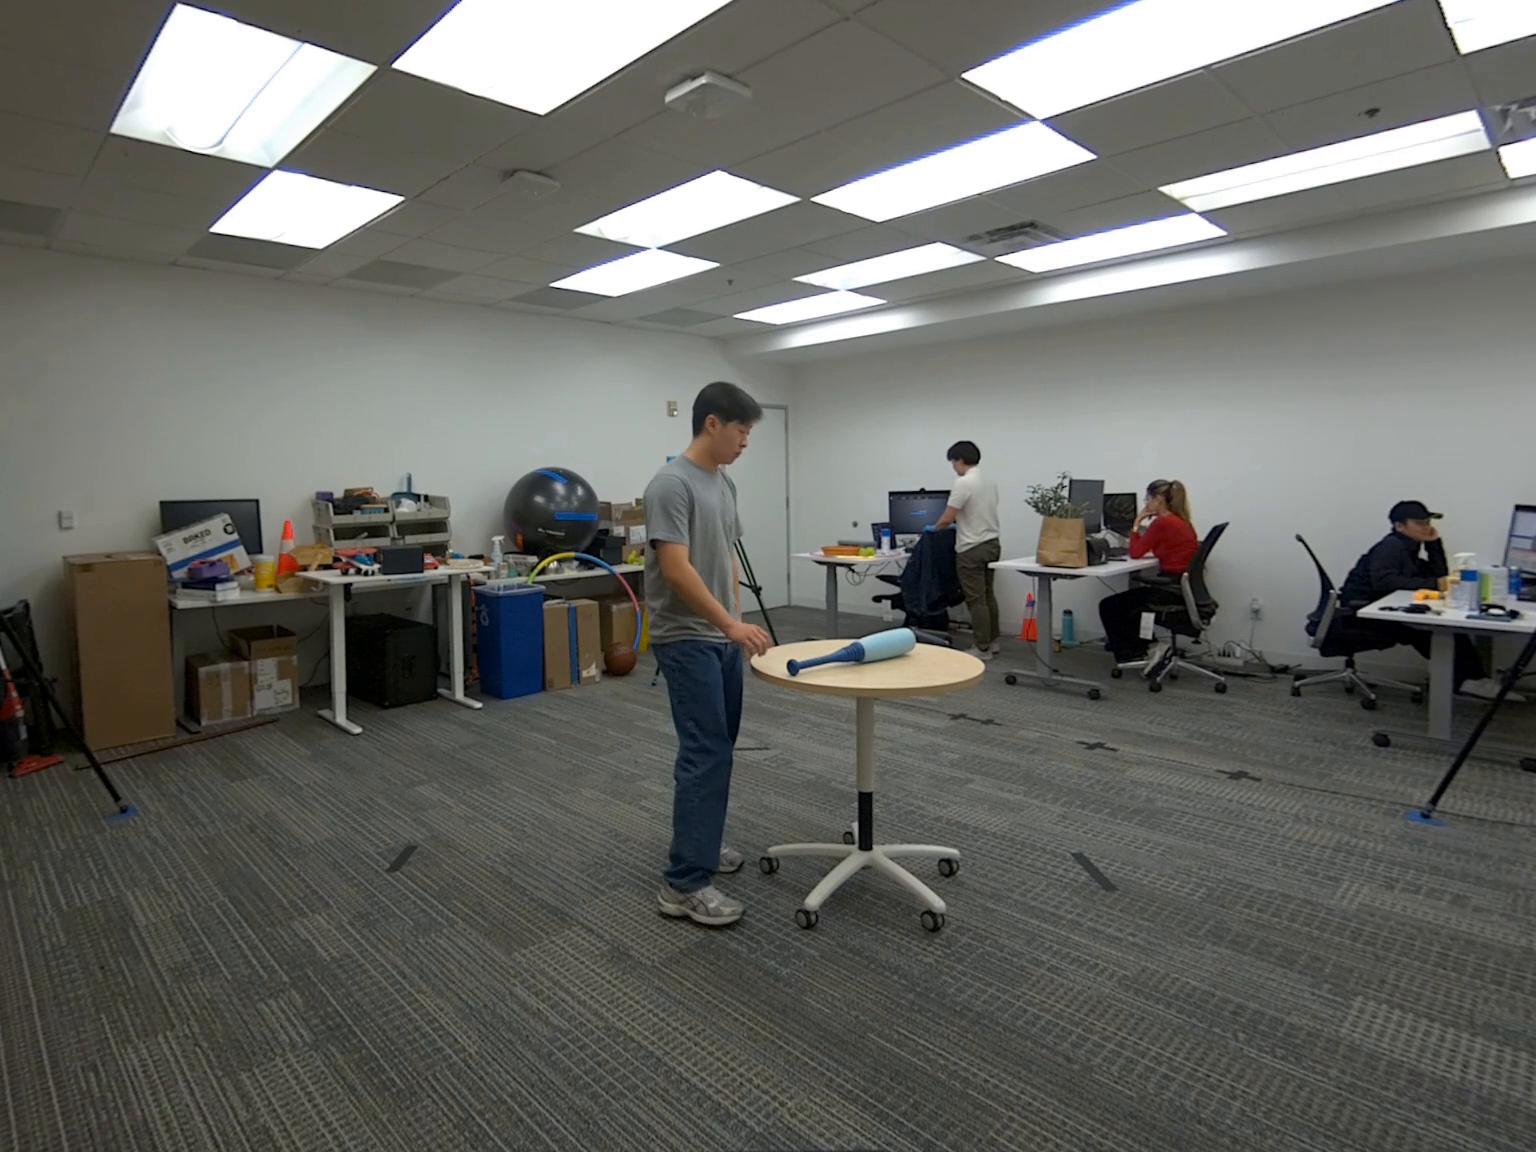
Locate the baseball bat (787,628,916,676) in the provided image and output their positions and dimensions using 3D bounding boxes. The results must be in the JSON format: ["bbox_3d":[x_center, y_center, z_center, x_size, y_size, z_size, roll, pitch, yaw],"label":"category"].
[{"bbox_3d":[0.278,0.253,2.794,0.530,0.088,0.092,-9,8,-37],"label":"baseball bat"}]
